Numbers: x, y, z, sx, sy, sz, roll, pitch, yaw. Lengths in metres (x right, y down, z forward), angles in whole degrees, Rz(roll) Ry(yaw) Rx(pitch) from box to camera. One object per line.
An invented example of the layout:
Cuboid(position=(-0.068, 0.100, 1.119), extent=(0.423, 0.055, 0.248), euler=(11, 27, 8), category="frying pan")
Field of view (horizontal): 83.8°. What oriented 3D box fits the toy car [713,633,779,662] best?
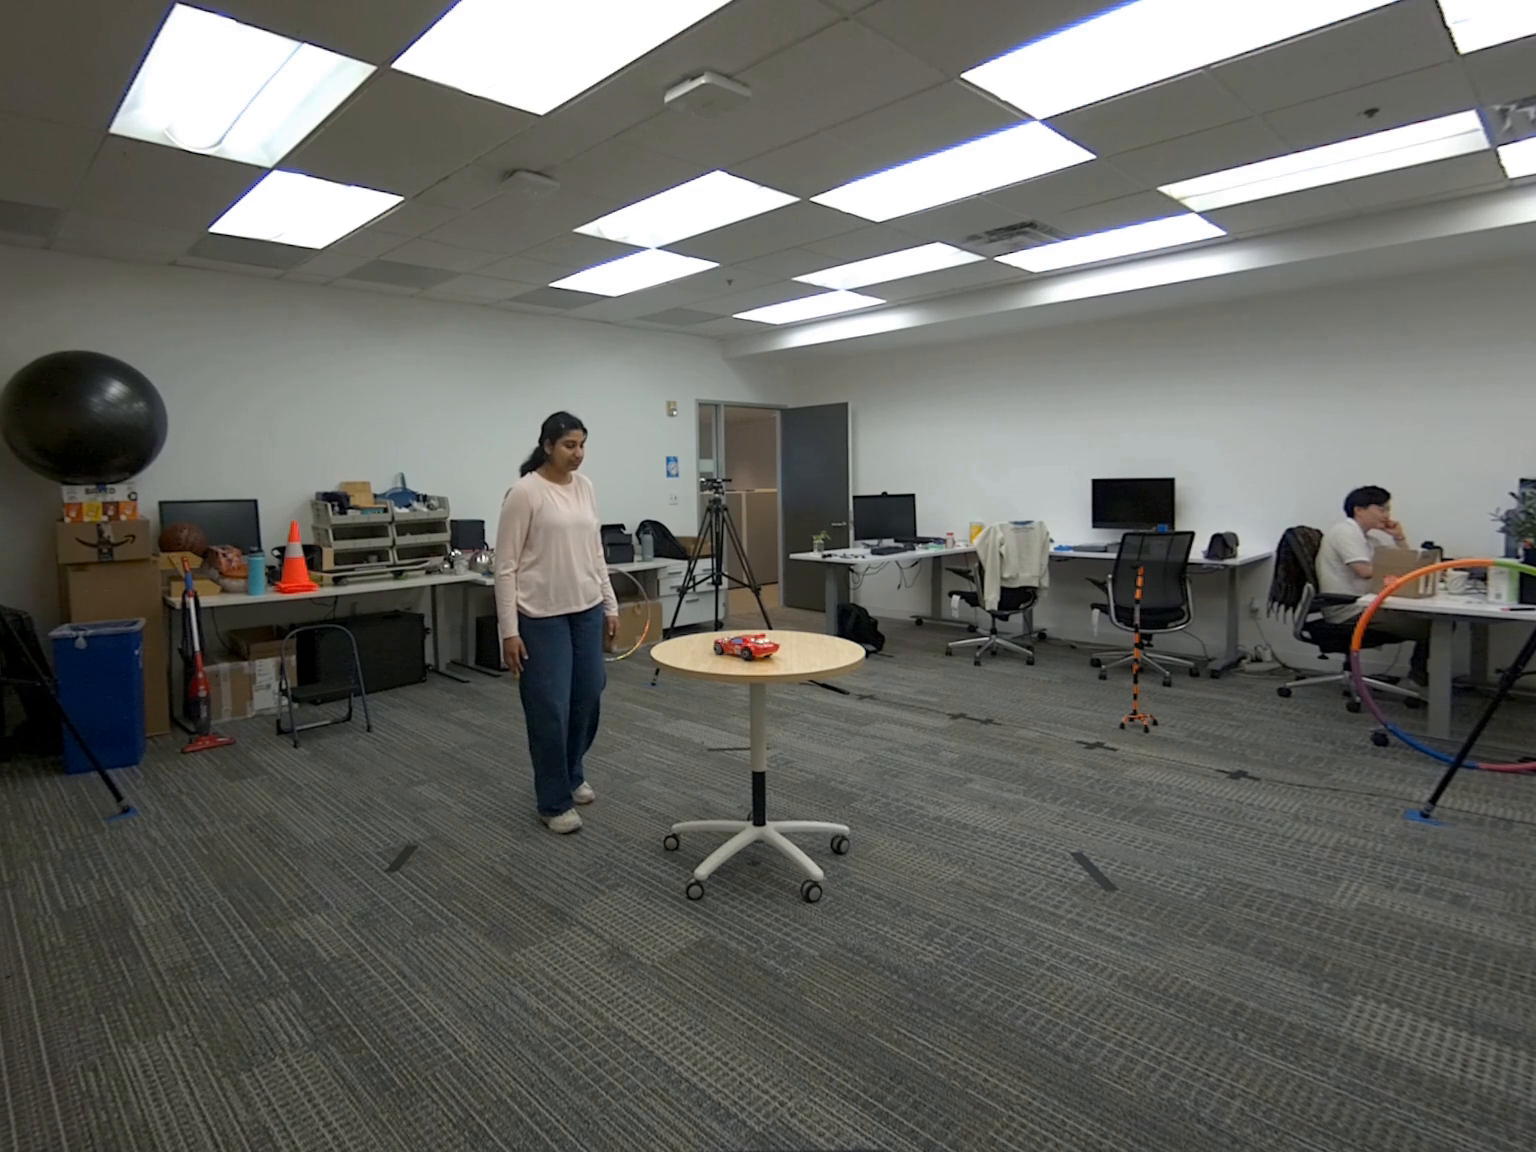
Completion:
Cuboid(position=(-0.069, 0.247, 2.954), extent=(0.127, 0.083, 0.260), euler=(-6, -3, -44), category="toy car")
